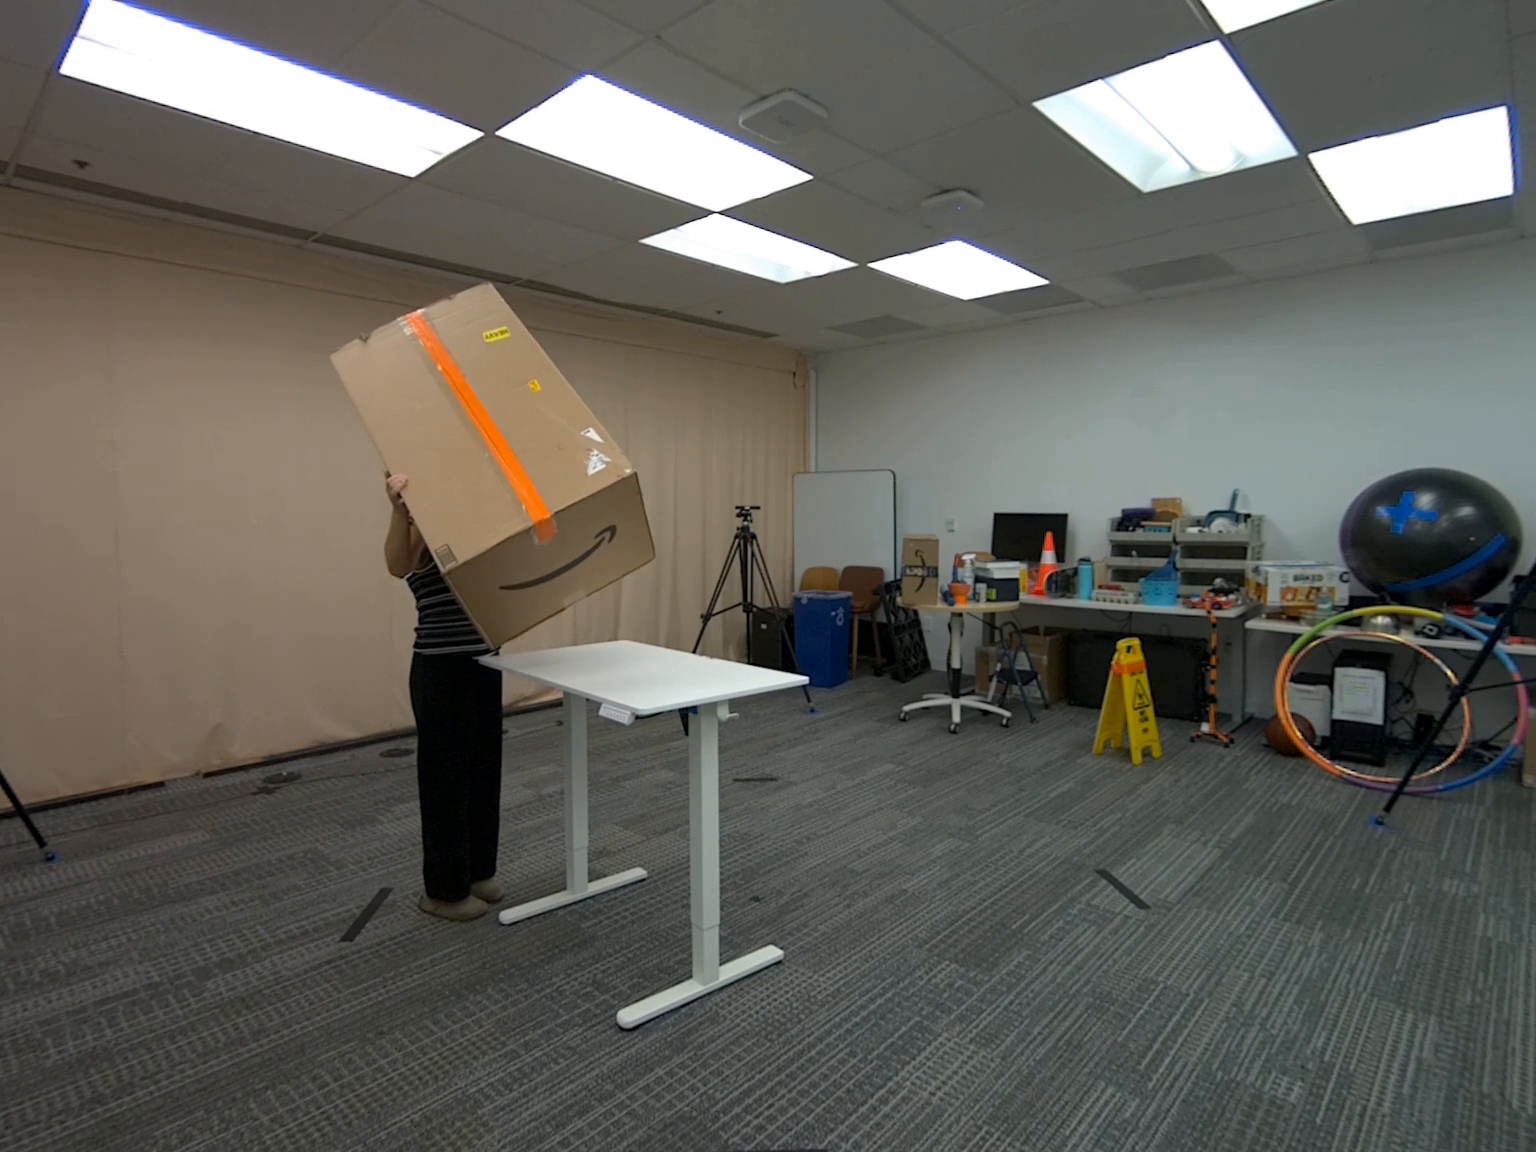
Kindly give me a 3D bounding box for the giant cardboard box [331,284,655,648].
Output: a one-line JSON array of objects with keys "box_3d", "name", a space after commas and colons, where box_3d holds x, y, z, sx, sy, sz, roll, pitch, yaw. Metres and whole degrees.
[{"box_3d": [-0.869, -0.380, 2.643, 0.572, 1.057, 0.417, -30, -31, -15], "name": "giant cardboard box"}]
